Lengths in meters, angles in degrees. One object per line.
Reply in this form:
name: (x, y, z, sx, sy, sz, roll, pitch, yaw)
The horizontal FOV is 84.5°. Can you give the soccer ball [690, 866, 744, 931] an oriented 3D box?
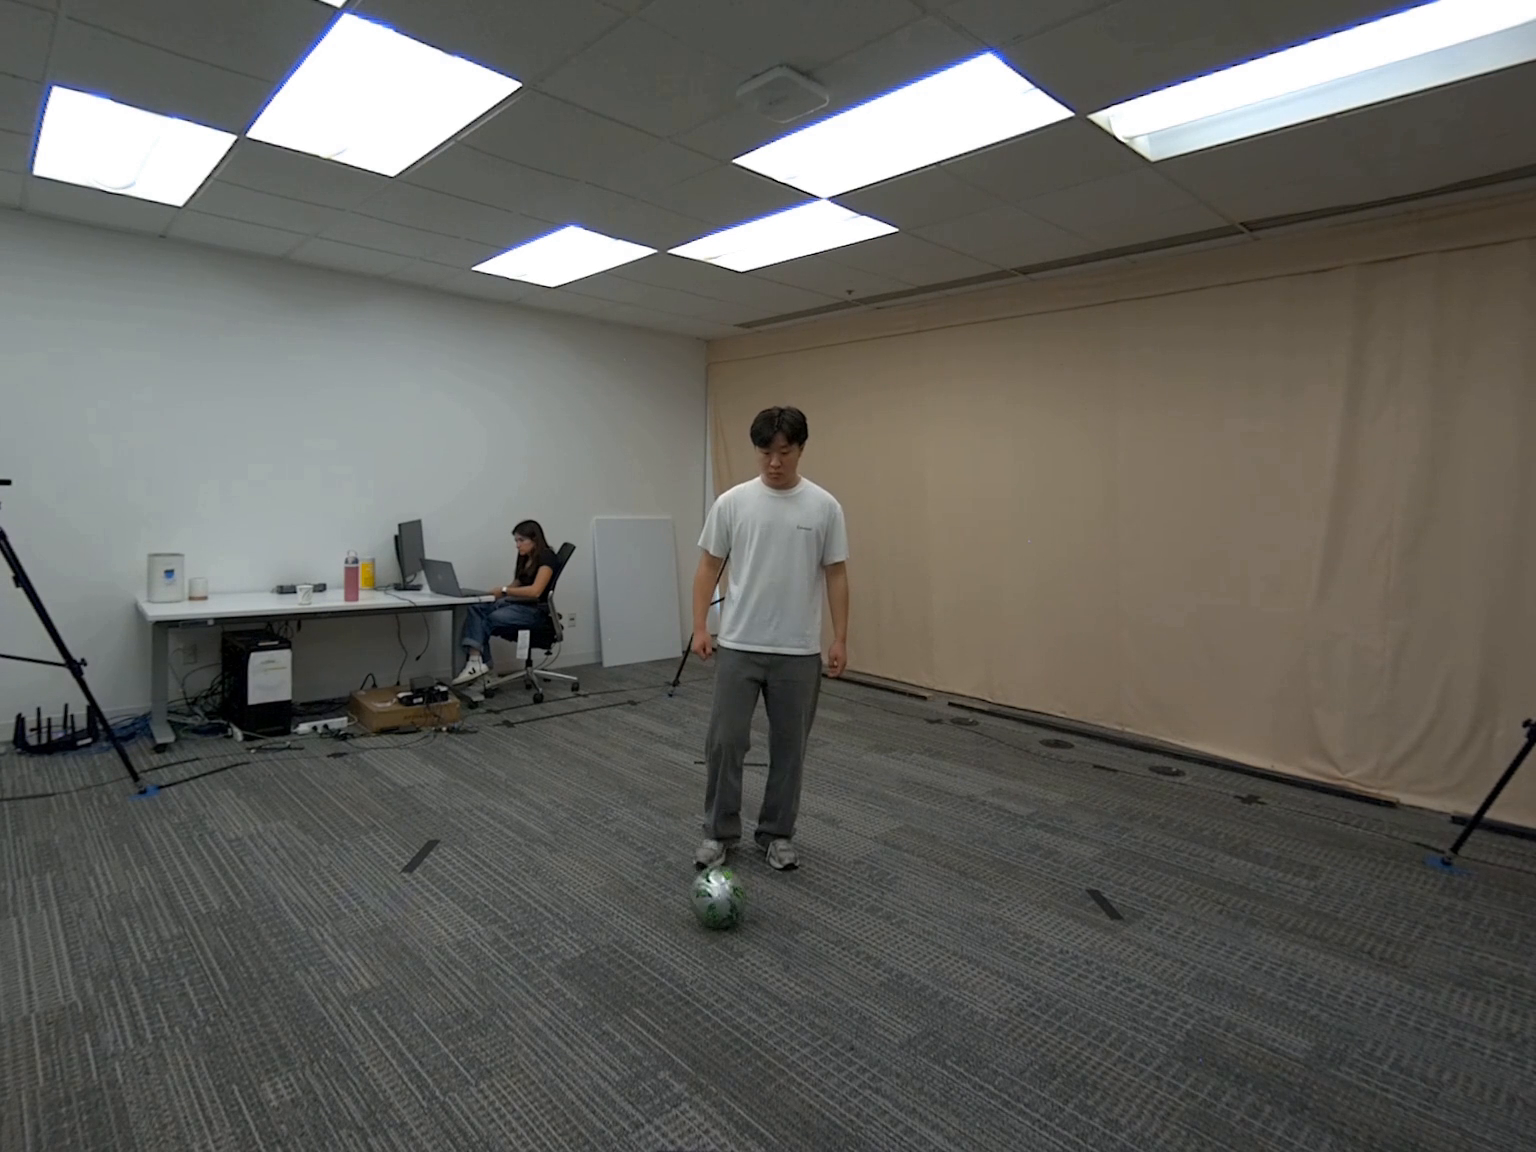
soccer ball: (-0.172, 1.052, 2.739, 0.187, 0.187, 0.188, 1, 4, -1)
